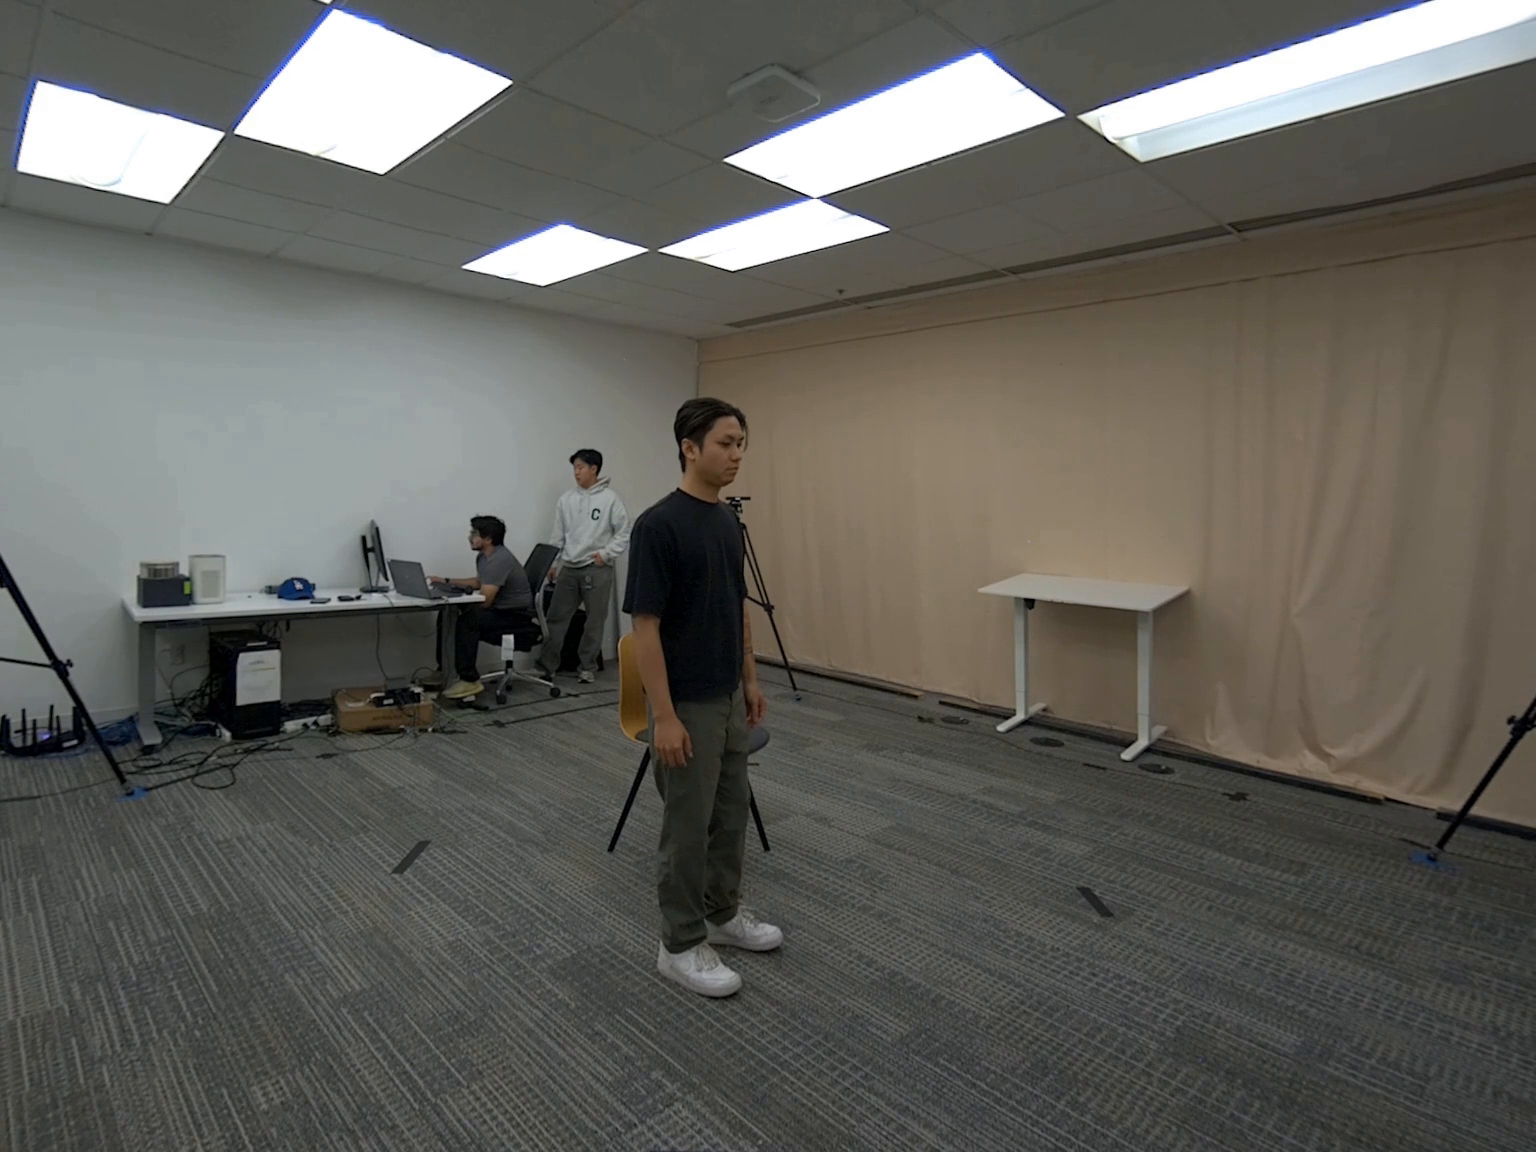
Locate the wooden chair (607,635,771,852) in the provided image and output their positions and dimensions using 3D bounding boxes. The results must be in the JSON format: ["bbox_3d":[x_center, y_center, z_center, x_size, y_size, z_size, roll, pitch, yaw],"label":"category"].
[{"bbox_3d":[-0.293,0.661,3.279,0.535,0.877,0.467,-1,1,39],"label":"wooden chair"}]
